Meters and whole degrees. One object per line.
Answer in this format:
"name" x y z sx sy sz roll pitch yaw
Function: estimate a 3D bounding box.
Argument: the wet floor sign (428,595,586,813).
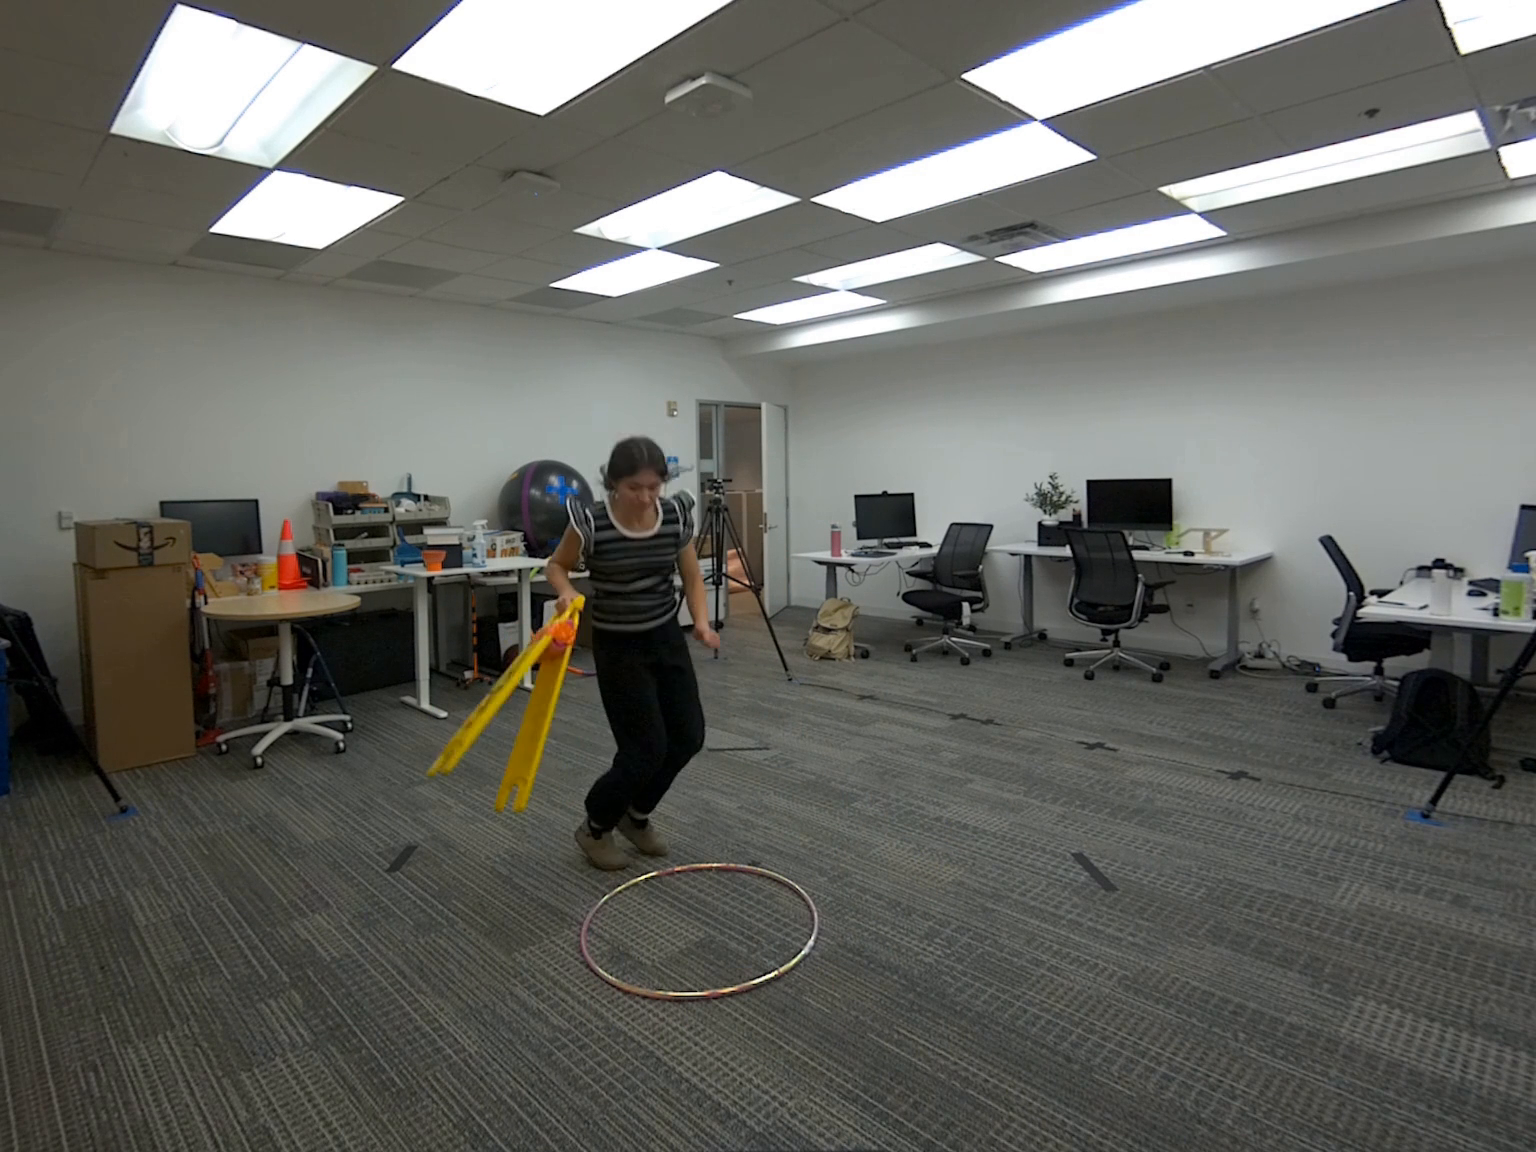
"wet floor sign" -0.704 0.363 2.588 0.283 0.653 0.286 33 -30 -20
